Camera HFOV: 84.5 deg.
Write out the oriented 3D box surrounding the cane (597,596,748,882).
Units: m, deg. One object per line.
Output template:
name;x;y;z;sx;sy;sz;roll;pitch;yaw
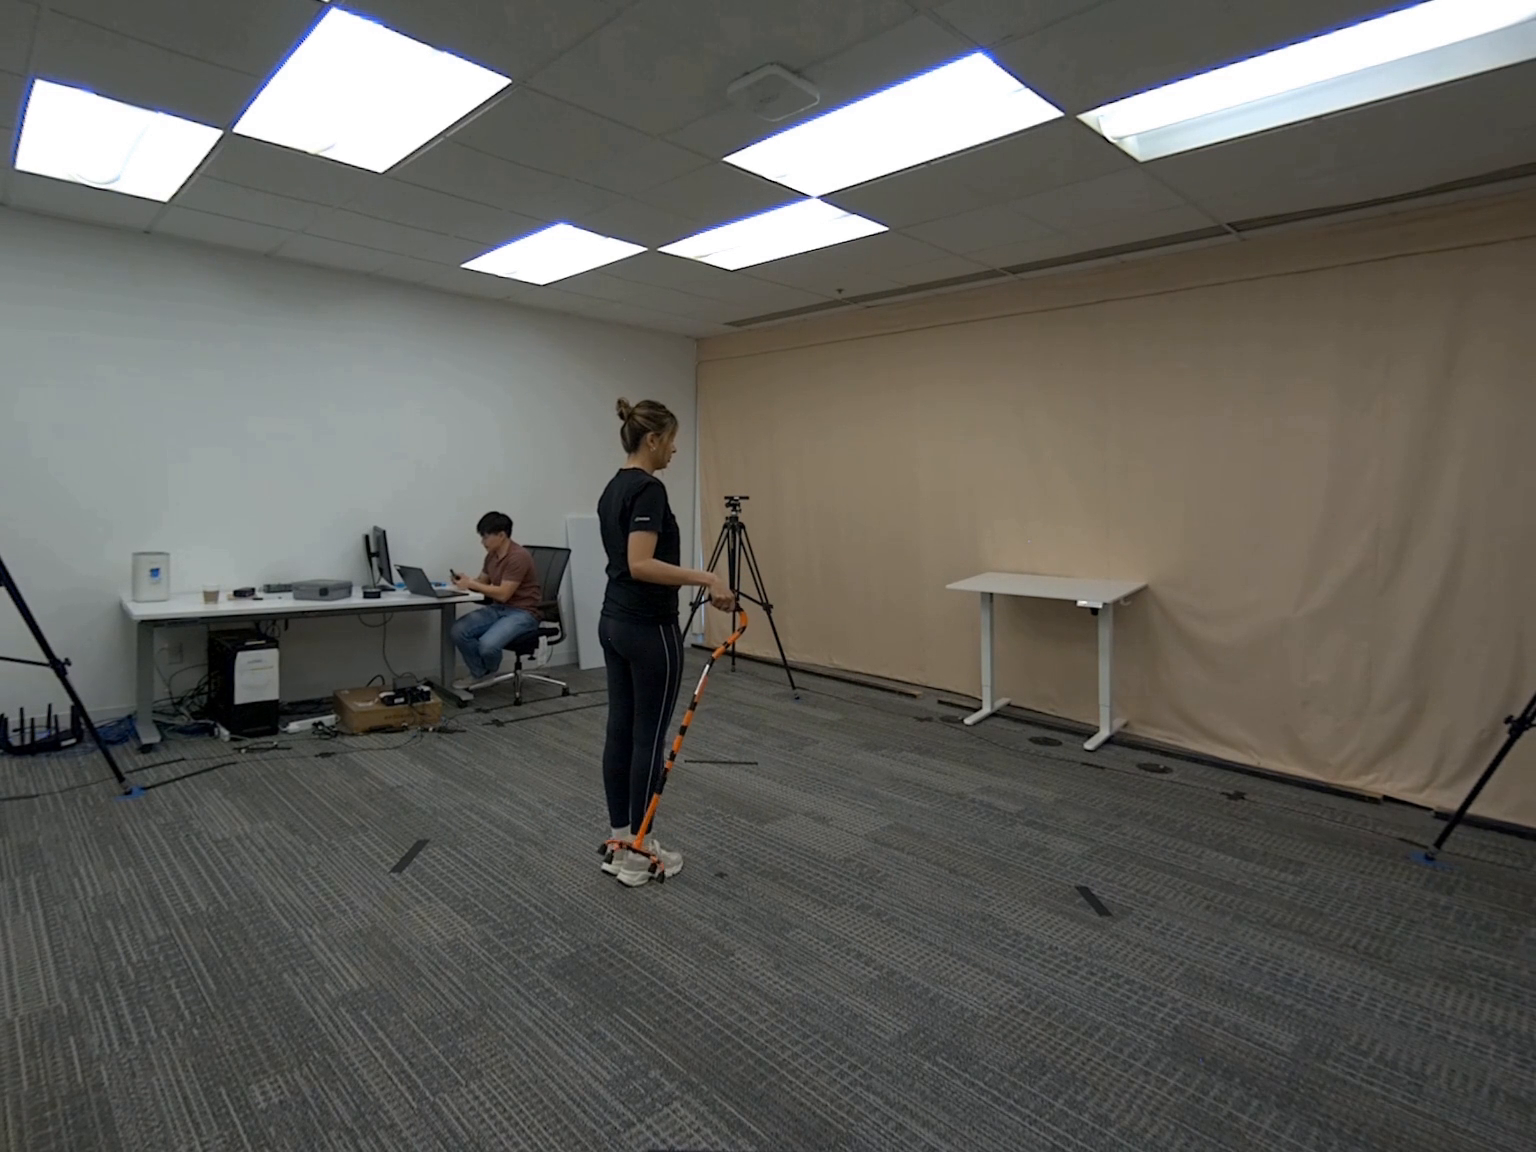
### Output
cane;-0.269;0.516;2.740;0.202;0.912;0.154;25;-13;-21
